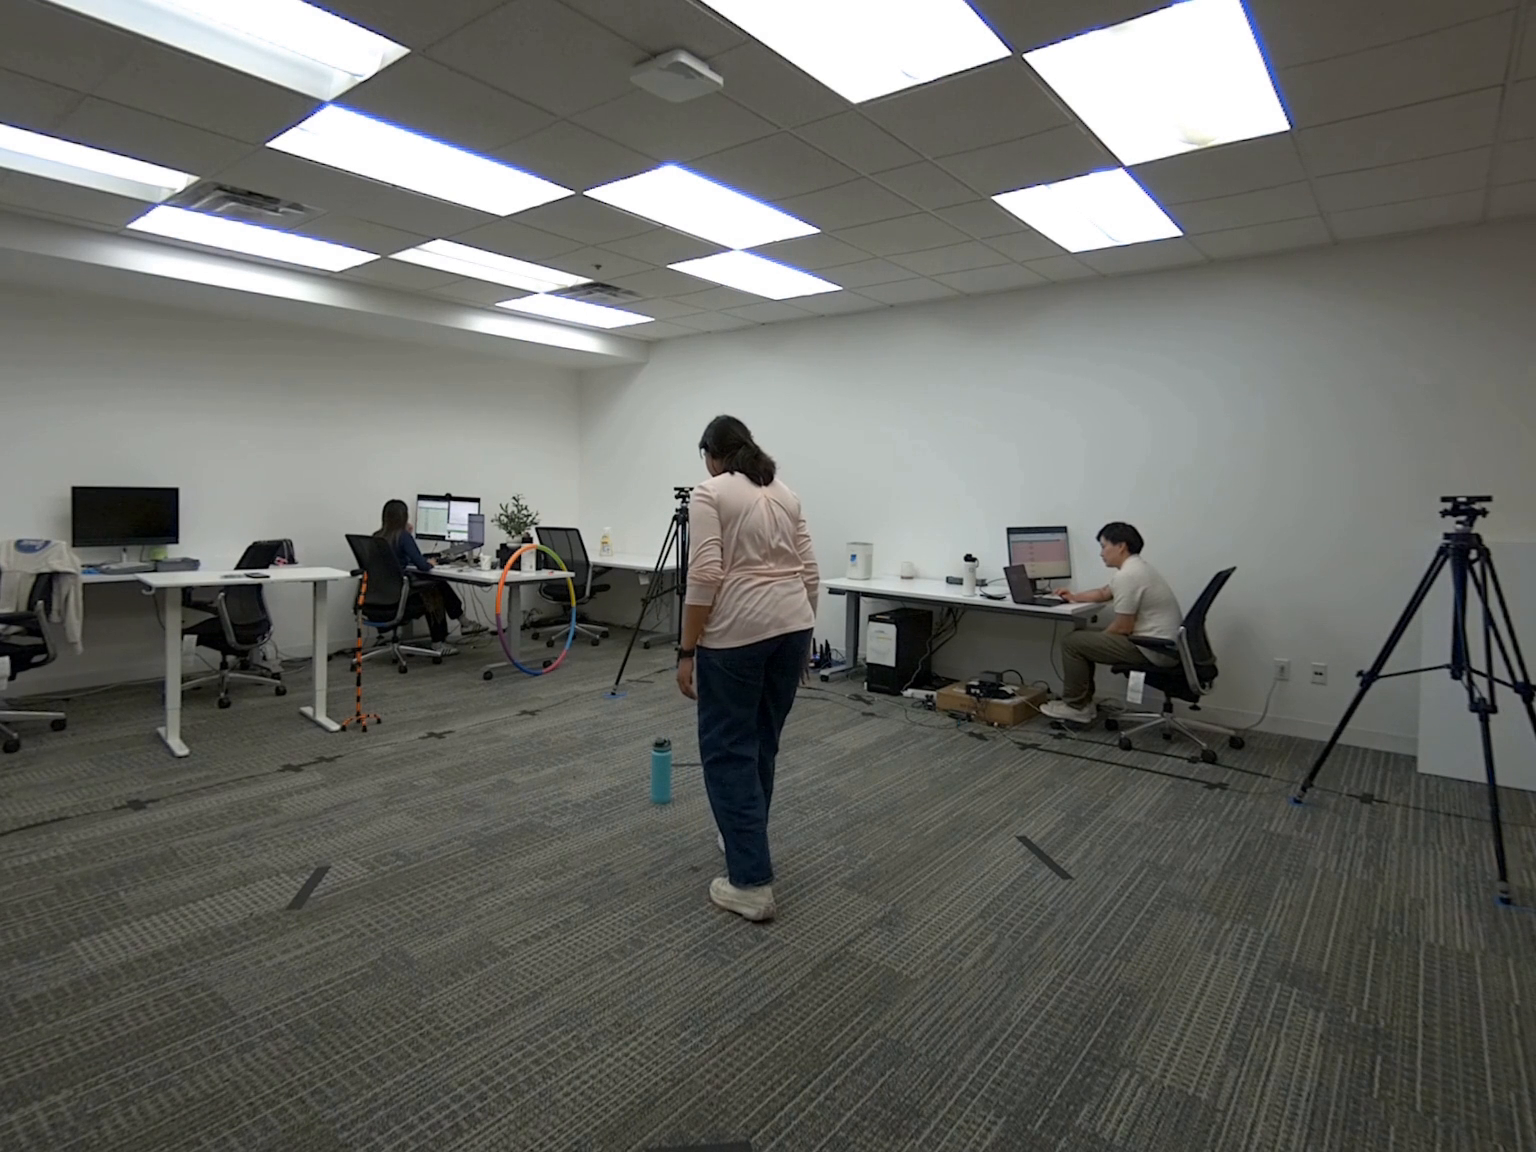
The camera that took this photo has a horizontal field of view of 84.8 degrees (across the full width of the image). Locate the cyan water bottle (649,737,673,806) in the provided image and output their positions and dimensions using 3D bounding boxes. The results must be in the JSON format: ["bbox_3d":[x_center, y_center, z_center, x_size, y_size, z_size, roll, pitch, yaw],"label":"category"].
[{"bbox_3d":[-0.488,0.857,3.786,0.092,0.283,0.093,-1,3,-2],"label":"cyan water bottle"}]
